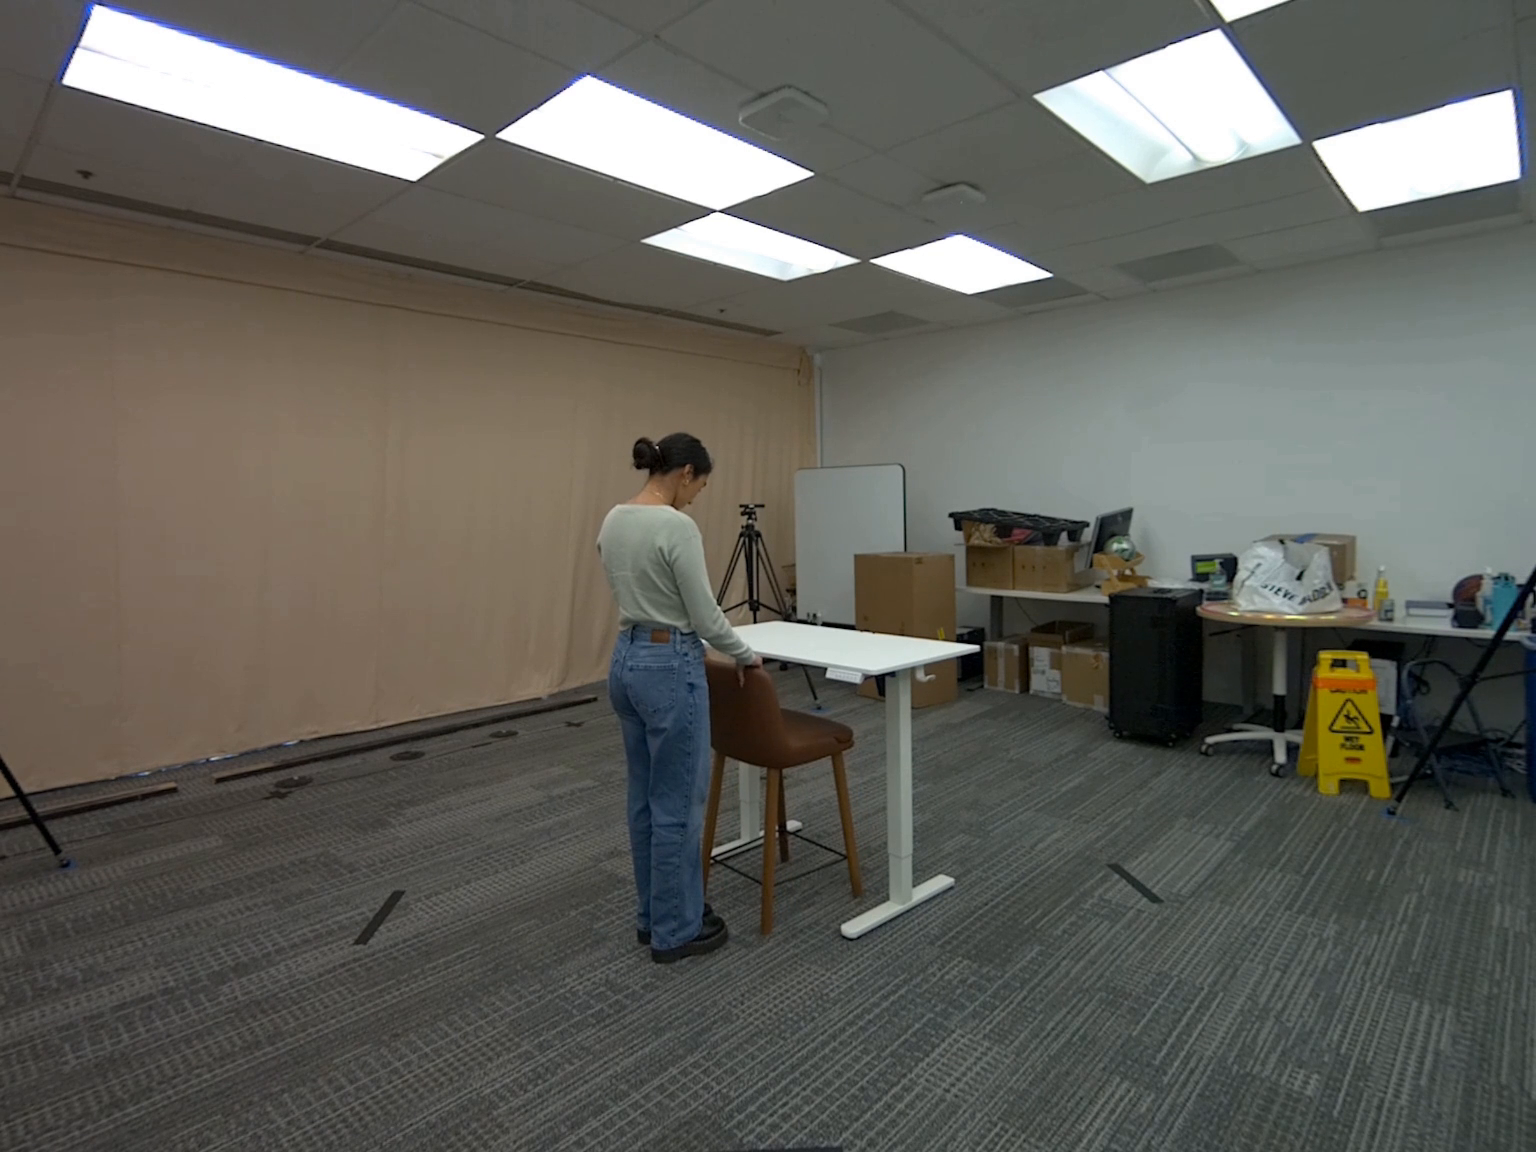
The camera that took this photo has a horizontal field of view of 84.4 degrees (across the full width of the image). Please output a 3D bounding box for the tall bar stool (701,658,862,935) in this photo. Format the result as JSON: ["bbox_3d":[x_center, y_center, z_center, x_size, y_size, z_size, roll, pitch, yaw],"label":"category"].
[{"bbox_3d":[0.017,0.704,2.964,0.454,0.886,0.471,-7,7,-39],"label":"tall bar stool"}]
